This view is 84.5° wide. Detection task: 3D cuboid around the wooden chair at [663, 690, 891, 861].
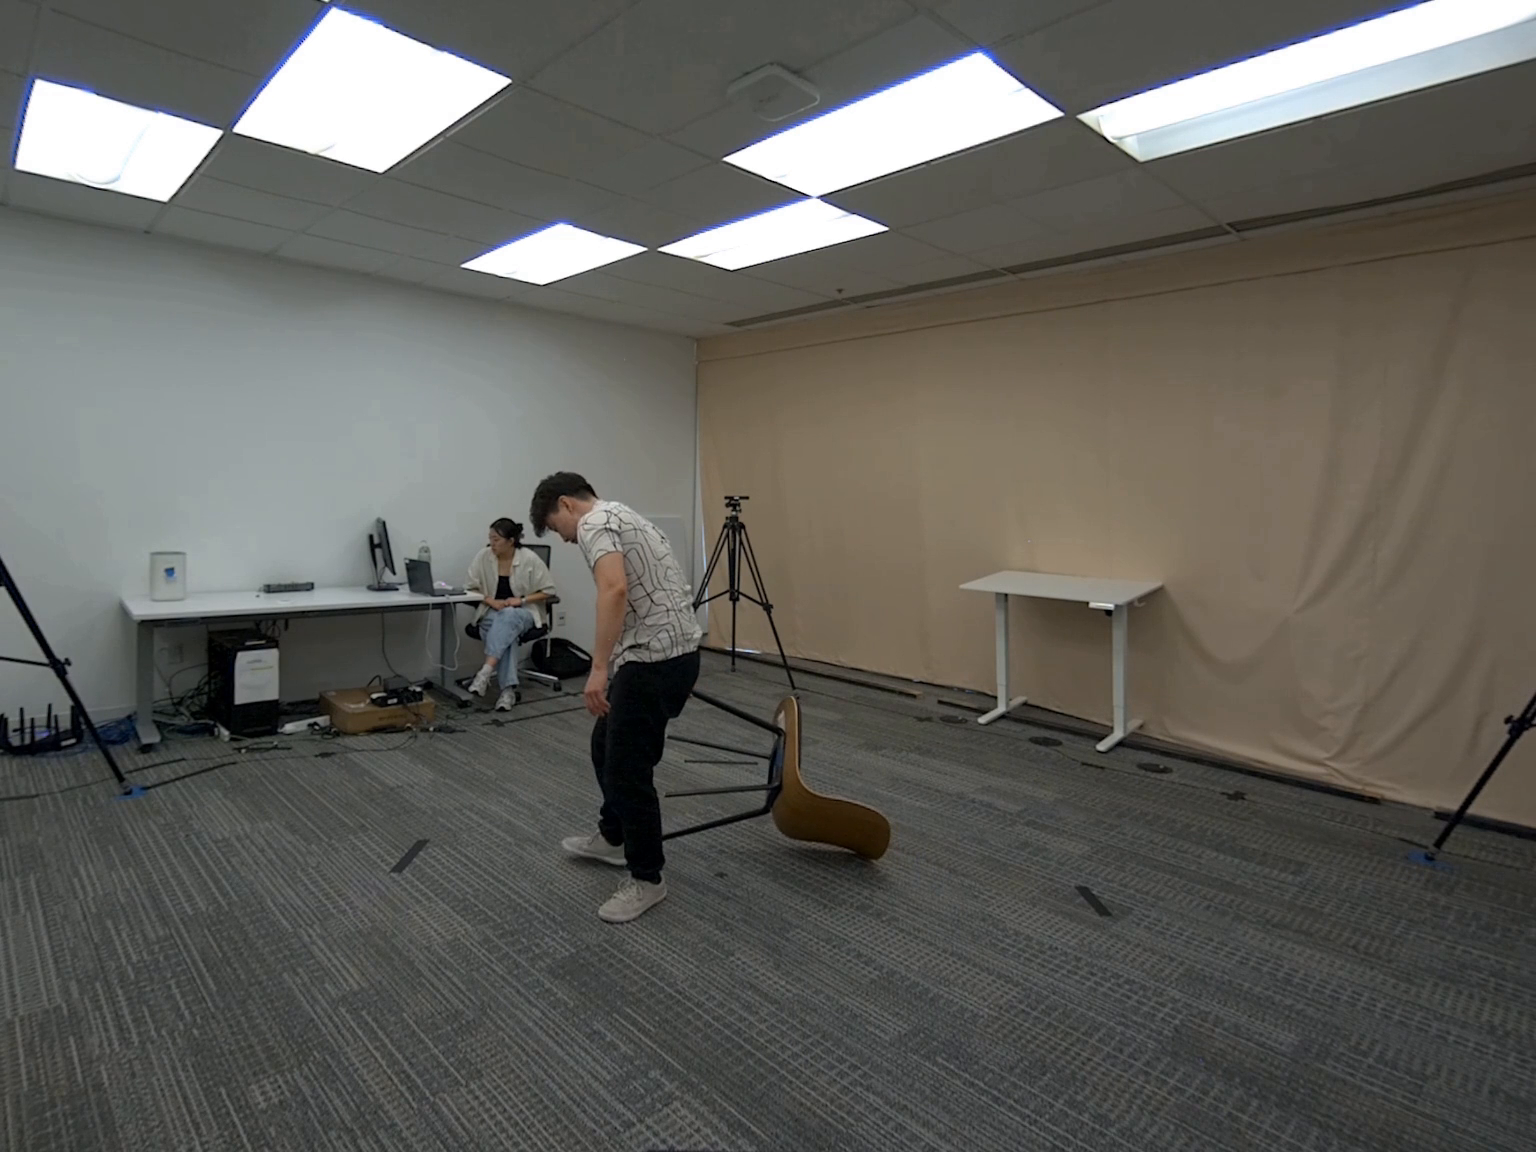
[{"bbox_3d":[0.021,0.769,3.300,0.877,0.533,0.469,8,-39,-1],"label":"wooden chair"}]
